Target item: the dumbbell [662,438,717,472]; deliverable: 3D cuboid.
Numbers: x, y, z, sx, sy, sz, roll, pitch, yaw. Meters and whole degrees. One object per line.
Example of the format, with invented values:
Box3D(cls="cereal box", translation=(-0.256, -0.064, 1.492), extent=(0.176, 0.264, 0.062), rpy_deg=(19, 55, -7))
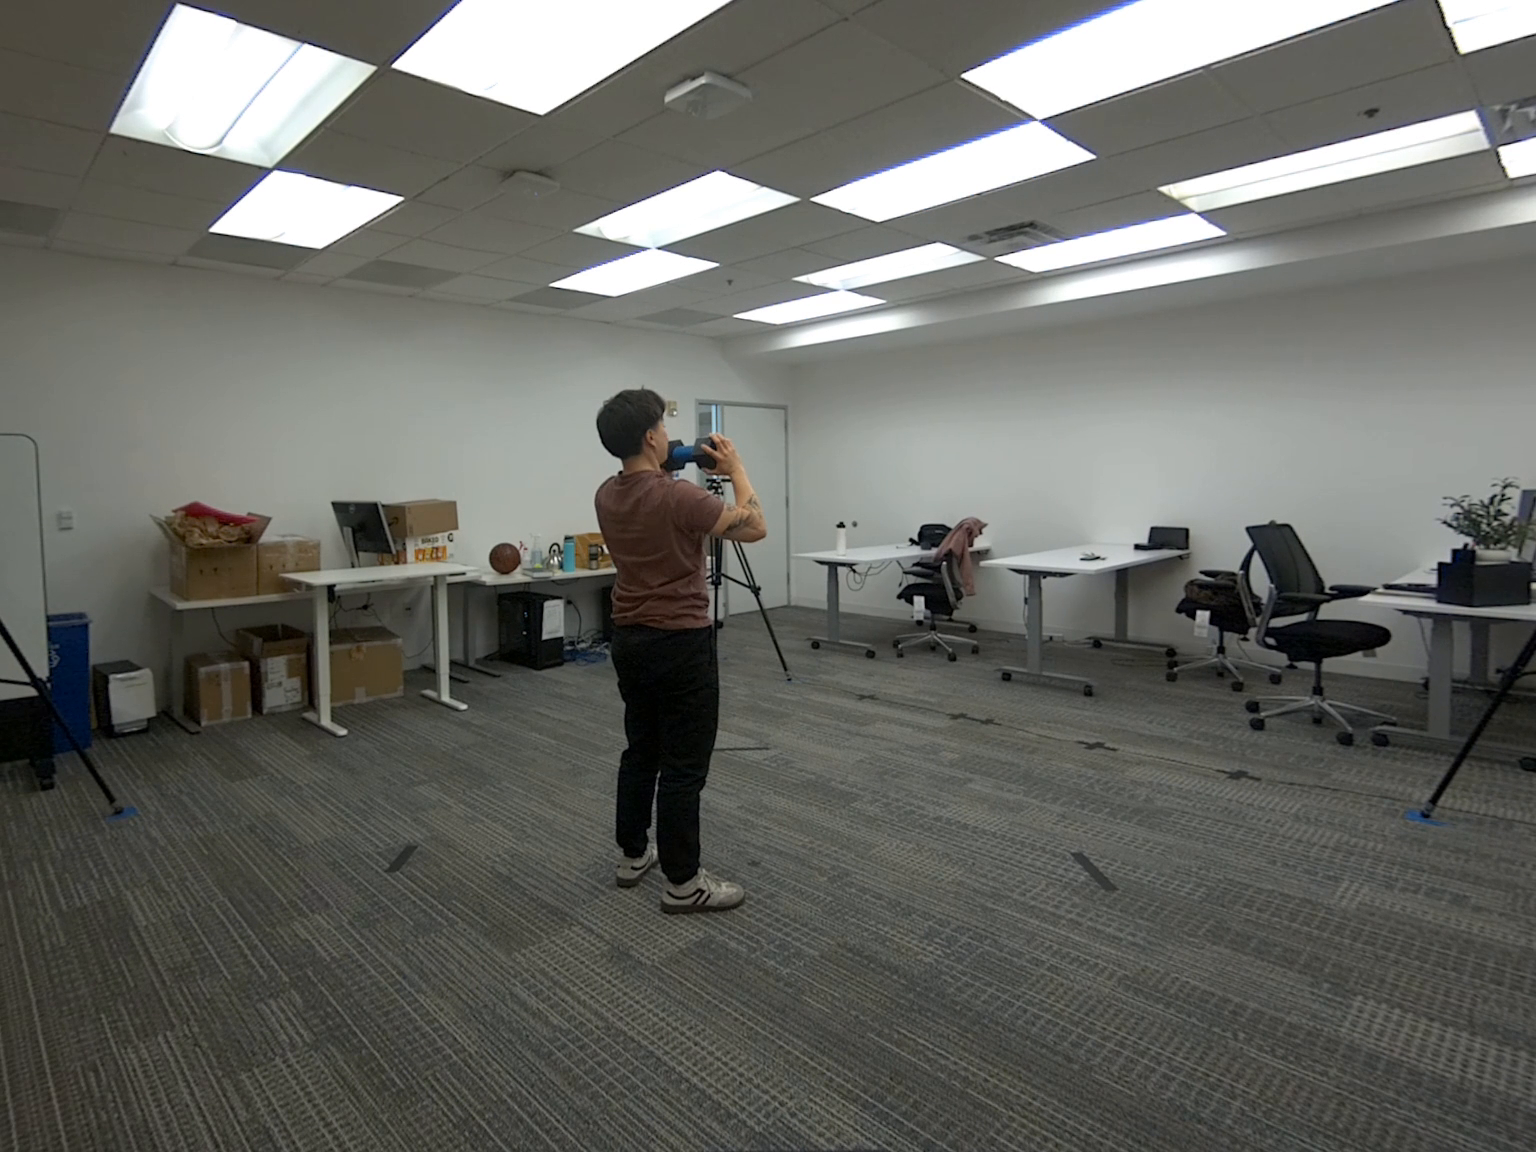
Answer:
Box3D(cls="dumbbell", translation=(-0.266, -0.426, 2.942), extent=(0.302, 0.119, 0.109), rpy_deg=(4, 45, 47))
